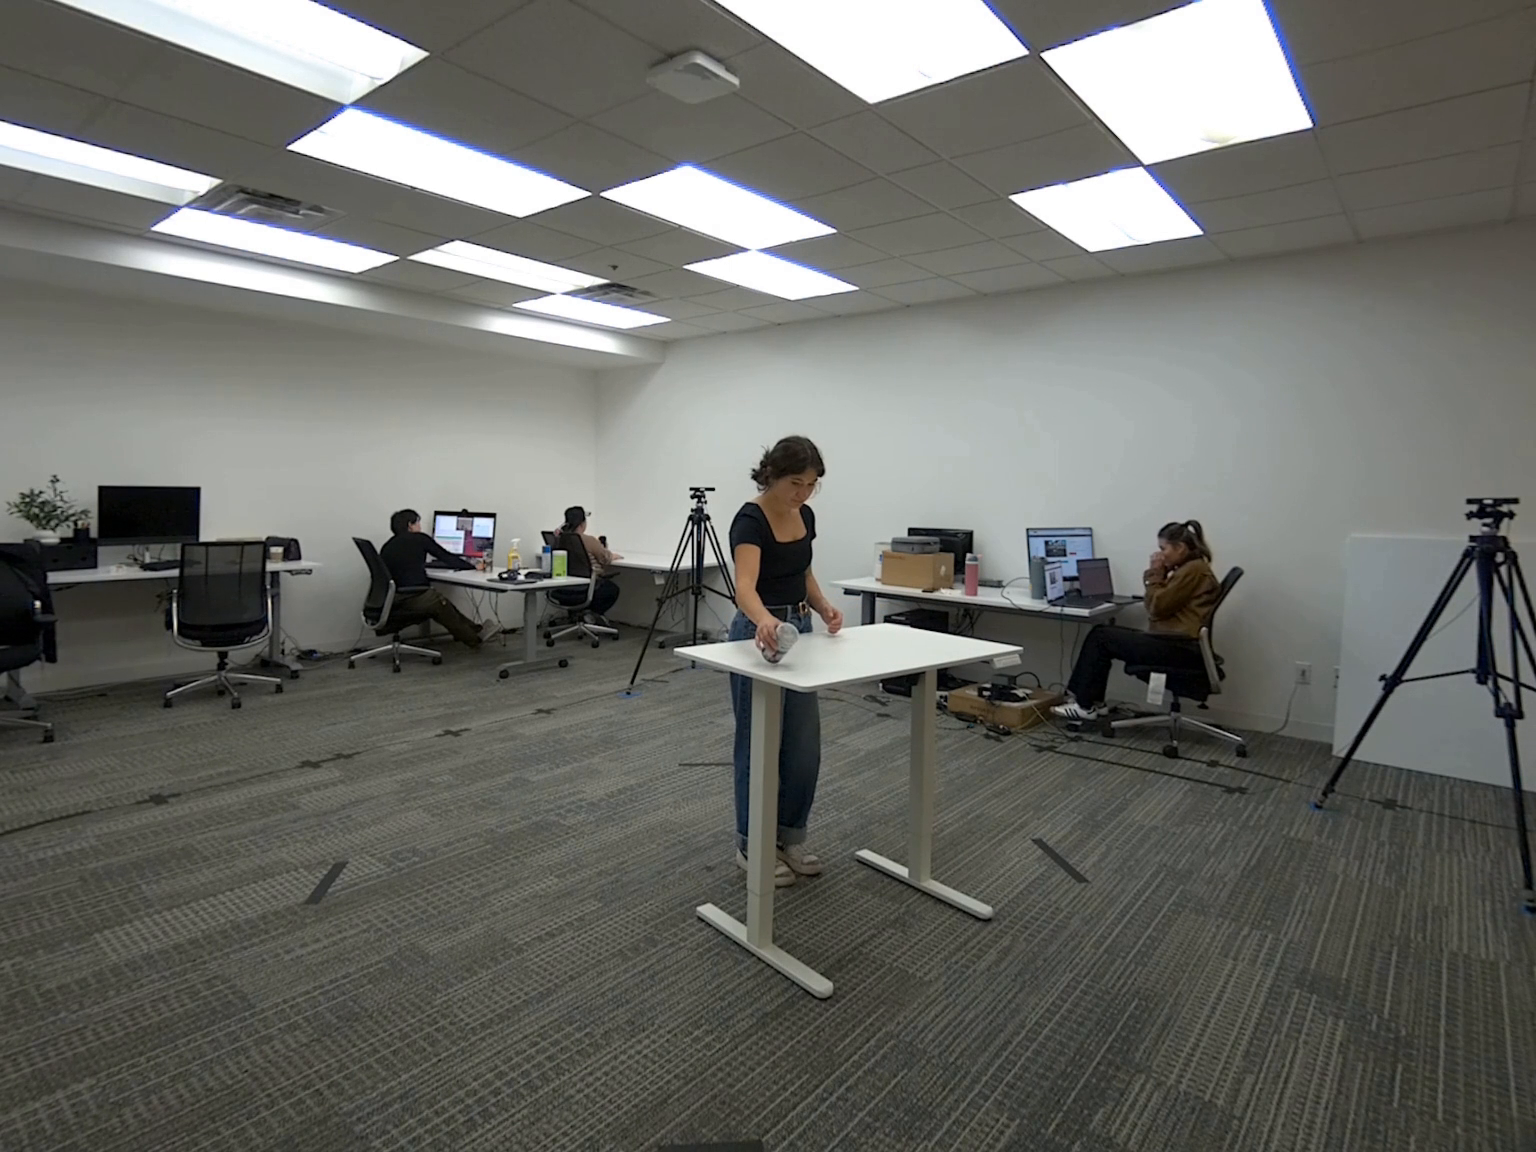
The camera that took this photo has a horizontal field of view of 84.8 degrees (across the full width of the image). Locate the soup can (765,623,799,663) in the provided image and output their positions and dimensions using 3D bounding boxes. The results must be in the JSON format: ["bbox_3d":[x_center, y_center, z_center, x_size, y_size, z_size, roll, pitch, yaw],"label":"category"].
[{"bbox_3d":[0.016,0.195,2.432,0.065,0.069,0.120,-1,-36,-27],"label":"soup can"}]
